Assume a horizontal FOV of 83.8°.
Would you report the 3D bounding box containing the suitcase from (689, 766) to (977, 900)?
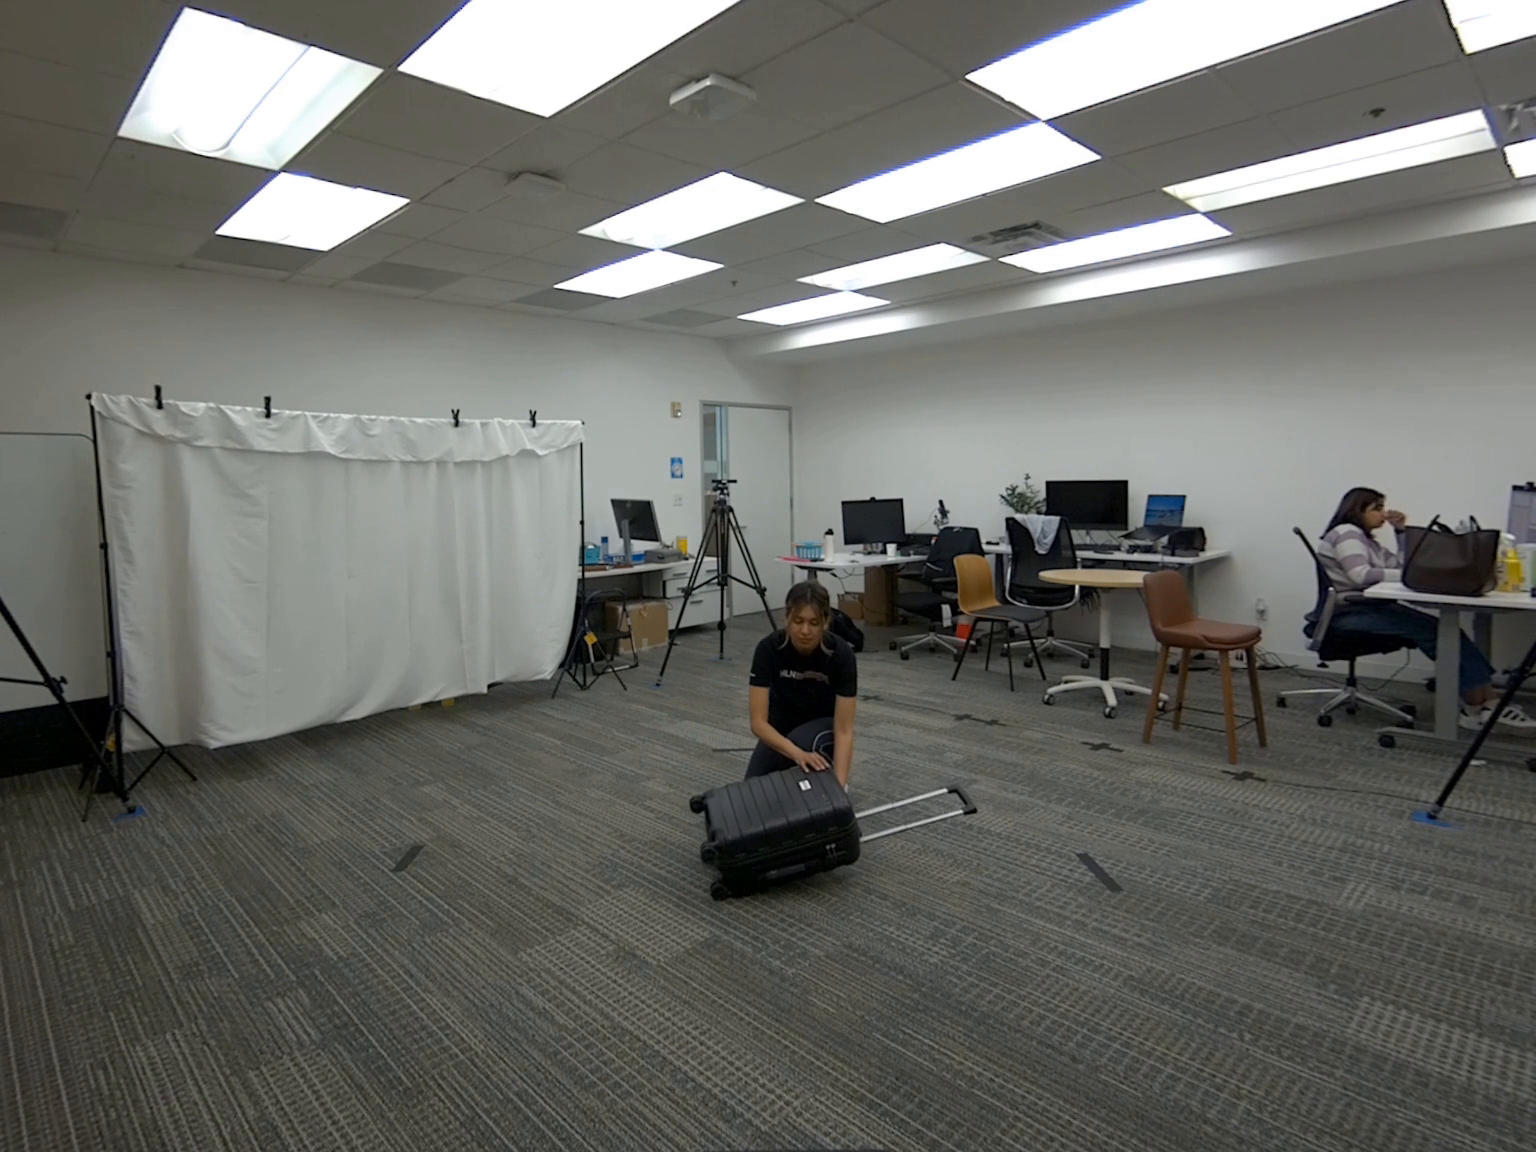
[{"bbox_3d":[0.228,0.828,3.012,0.975,0.252,0.392,-16,17,-6],"label":"suitcase"}]
